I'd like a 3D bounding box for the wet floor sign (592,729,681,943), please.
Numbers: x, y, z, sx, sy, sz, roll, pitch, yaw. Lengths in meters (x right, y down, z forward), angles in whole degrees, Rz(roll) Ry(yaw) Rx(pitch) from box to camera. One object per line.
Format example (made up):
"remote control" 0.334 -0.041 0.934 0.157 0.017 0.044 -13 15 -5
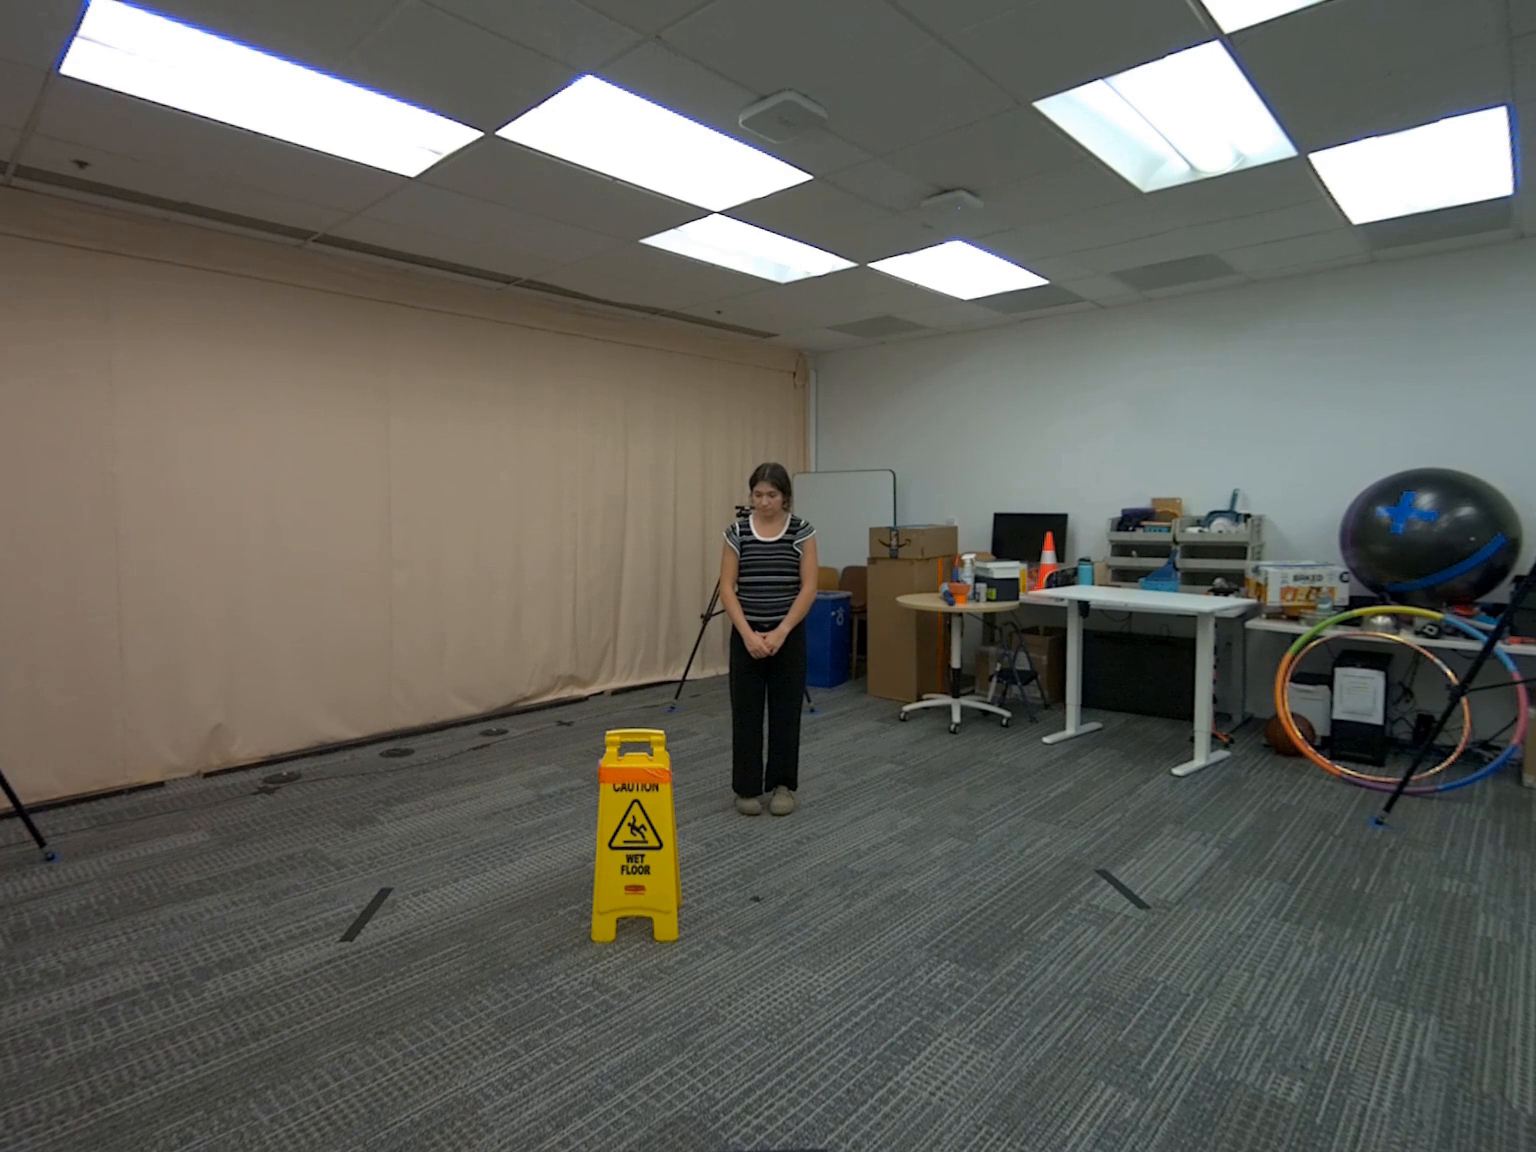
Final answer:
"wet floor sign" -0.435 0.839 2.805 0.282 0.645 0.290 1 1 -1
